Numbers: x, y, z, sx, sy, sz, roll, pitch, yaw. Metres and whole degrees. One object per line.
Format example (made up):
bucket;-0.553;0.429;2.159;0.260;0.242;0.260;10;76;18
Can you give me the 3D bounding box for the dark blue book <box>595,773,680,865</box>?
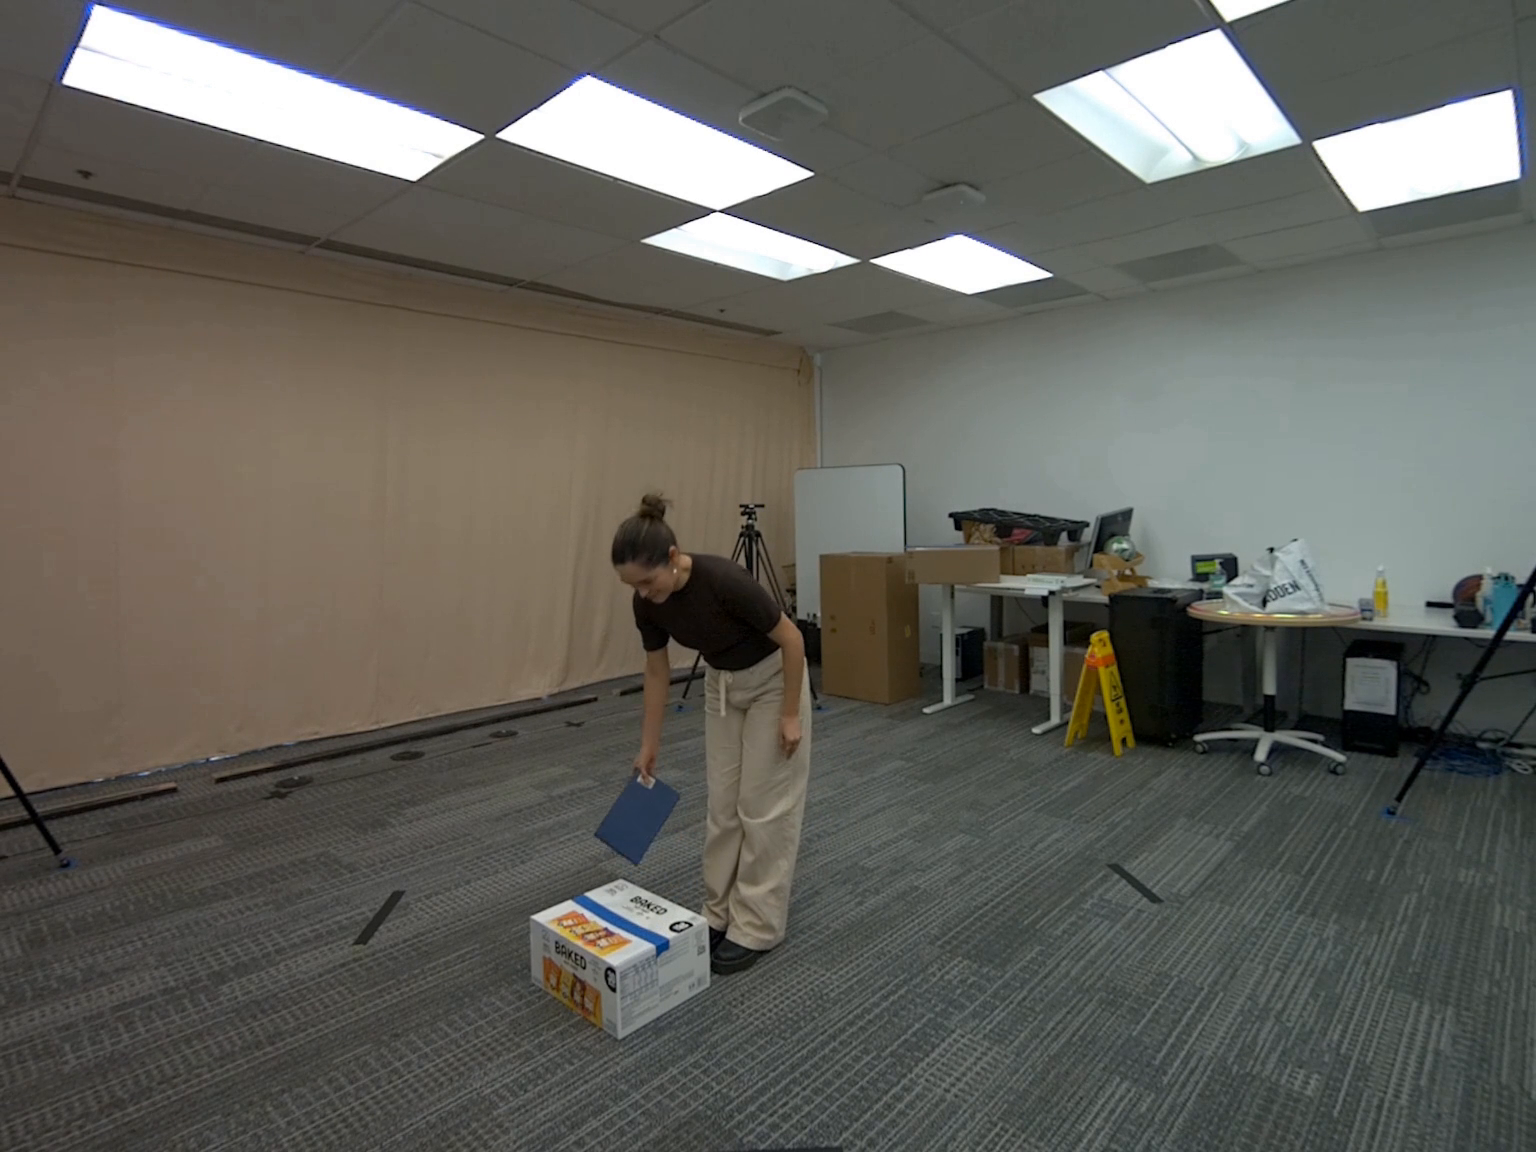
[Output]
dark blue book;-0.396;0.744;2.615;0.164;0.245;0.045;31;-22;4
